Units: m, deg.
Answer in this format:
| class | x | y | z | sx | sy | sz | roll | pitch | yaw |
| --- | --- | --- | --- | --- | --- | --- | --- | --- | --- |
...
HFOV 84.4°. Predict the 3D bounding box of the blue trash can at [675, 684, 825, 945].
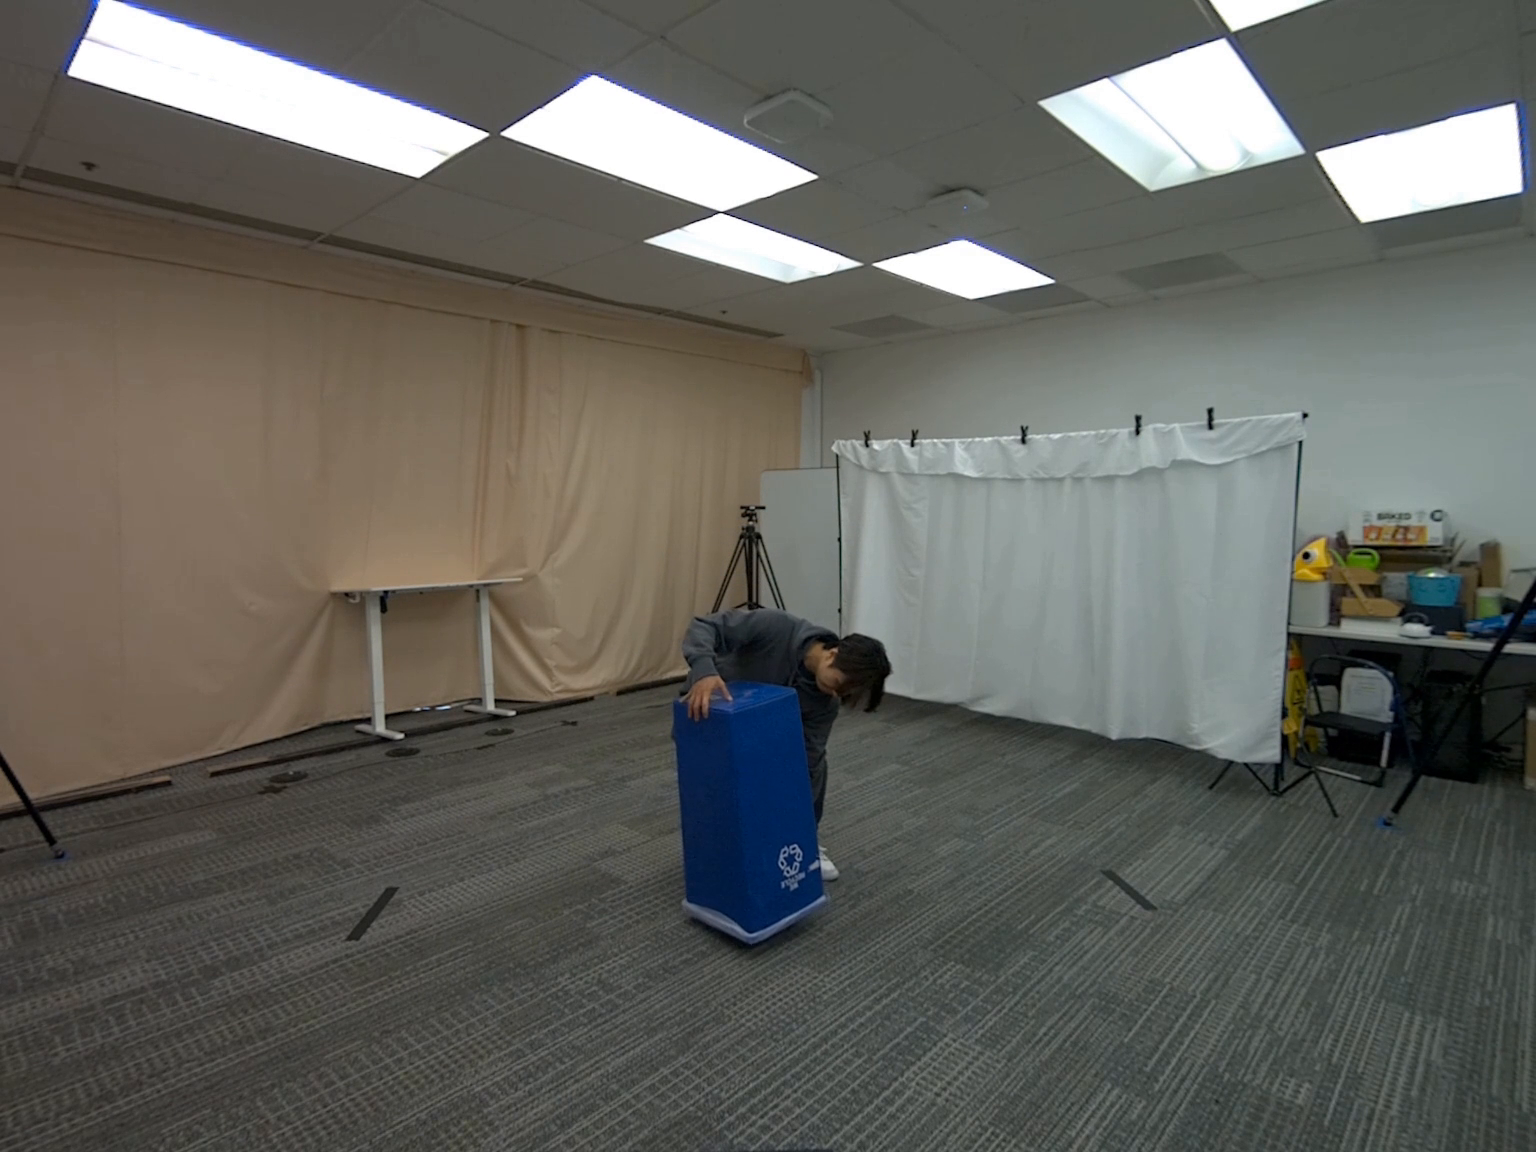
| class | x | y | z | sx | sy | sz | roll | pitch | yaw |
| --- | --- | --- | --- | --- | --- | --- | --- | --- | --- |
| blue trash can | -0.081 | 0.739 | 2.784 | 0.363 | 0.712 | 0.390 | -9 | 5 | -39 |
